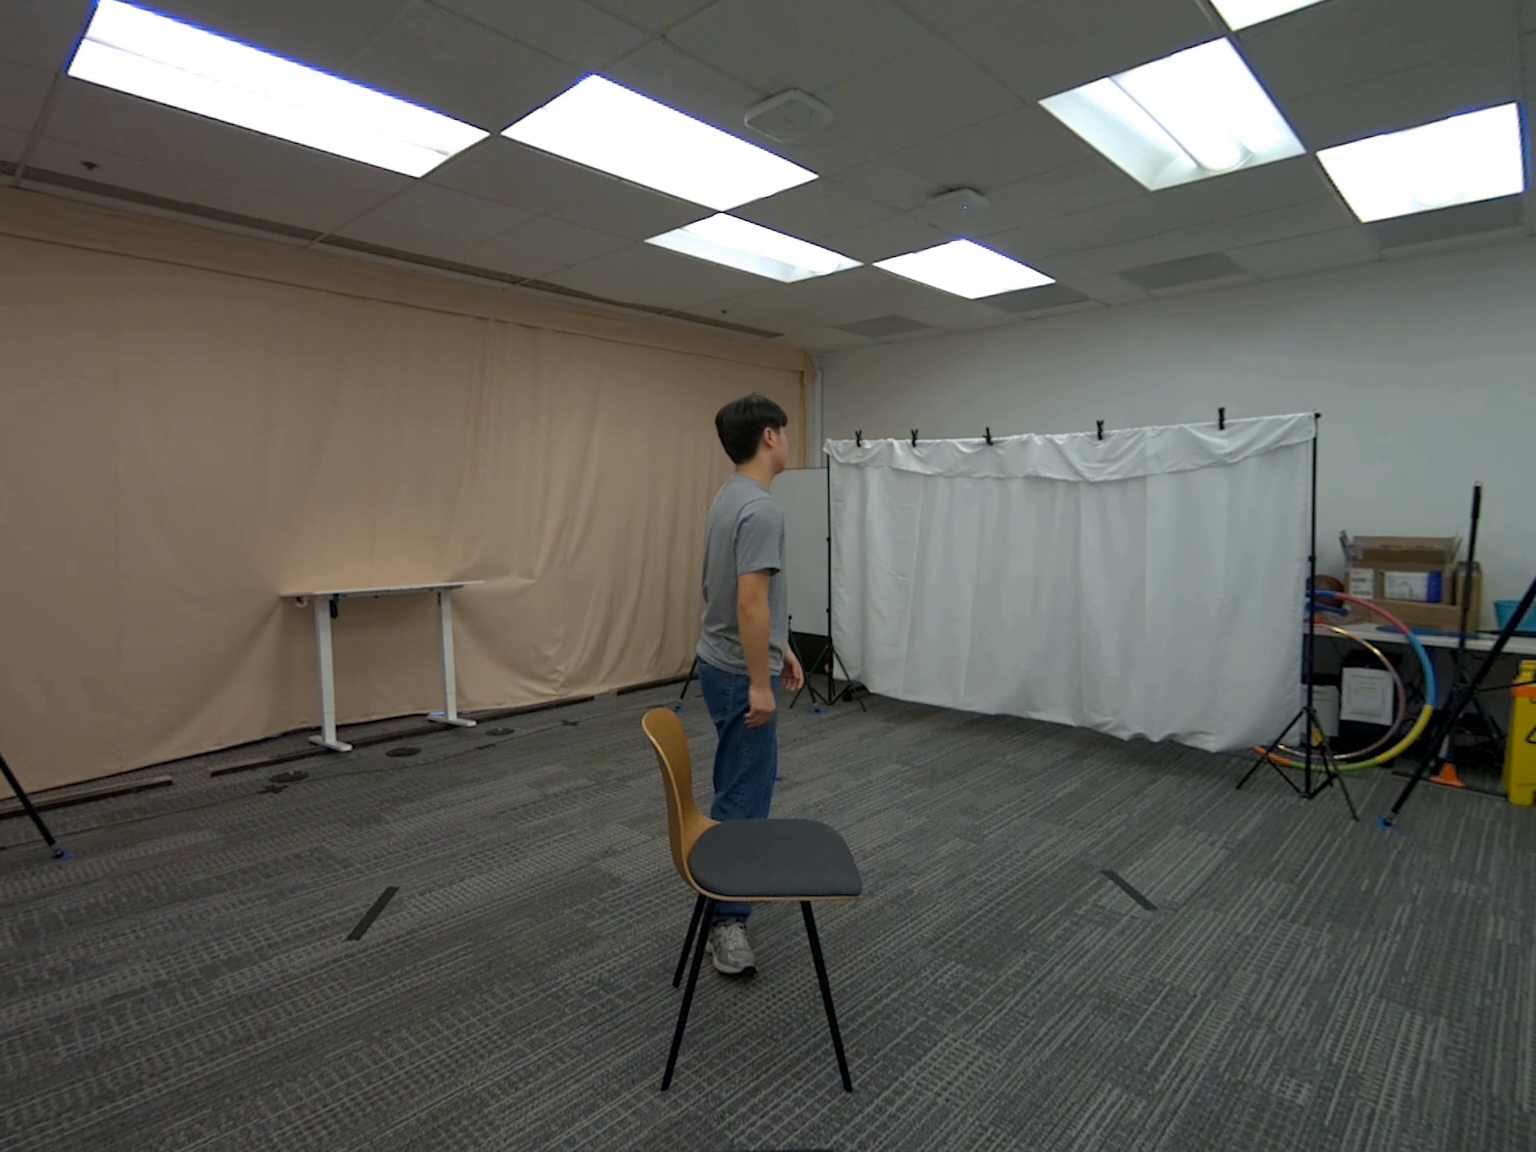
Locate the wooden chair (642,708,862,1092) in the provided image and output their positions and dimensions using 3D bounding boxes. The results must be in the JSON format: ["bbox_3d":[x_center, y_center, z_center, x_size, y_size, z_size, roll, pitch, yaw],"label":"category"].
[{"bbox_3d":[-0.027,0.783,2.202,0.523,0.875,0.479,-4,3,-1],"label":"wooden chair"}]
